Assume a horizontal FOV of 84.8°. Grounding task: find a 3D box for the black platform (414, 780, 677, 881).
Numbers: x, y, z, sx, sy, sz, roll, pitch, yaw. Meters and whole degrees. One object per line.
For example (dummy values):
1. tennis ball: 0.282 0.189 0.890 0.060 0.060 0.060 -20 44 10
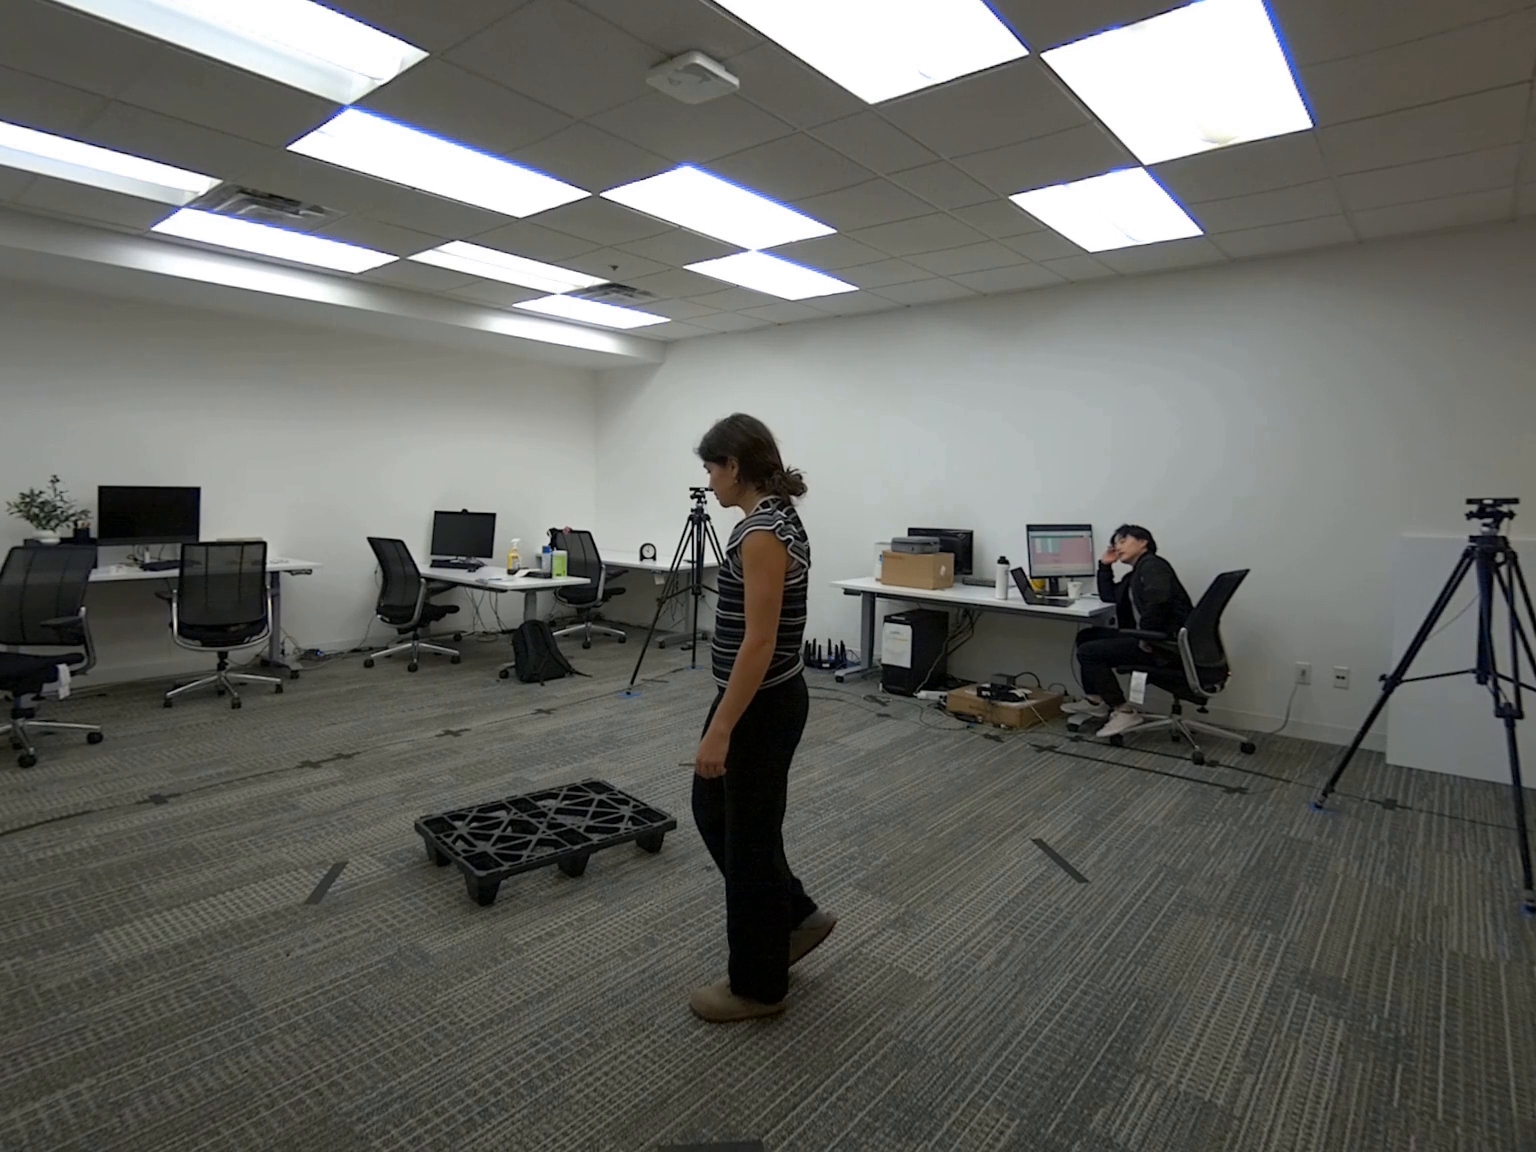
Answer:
1. black platform: -0.852 0.980 3.207 0.781 0.143 0.625 -4 6 -41
